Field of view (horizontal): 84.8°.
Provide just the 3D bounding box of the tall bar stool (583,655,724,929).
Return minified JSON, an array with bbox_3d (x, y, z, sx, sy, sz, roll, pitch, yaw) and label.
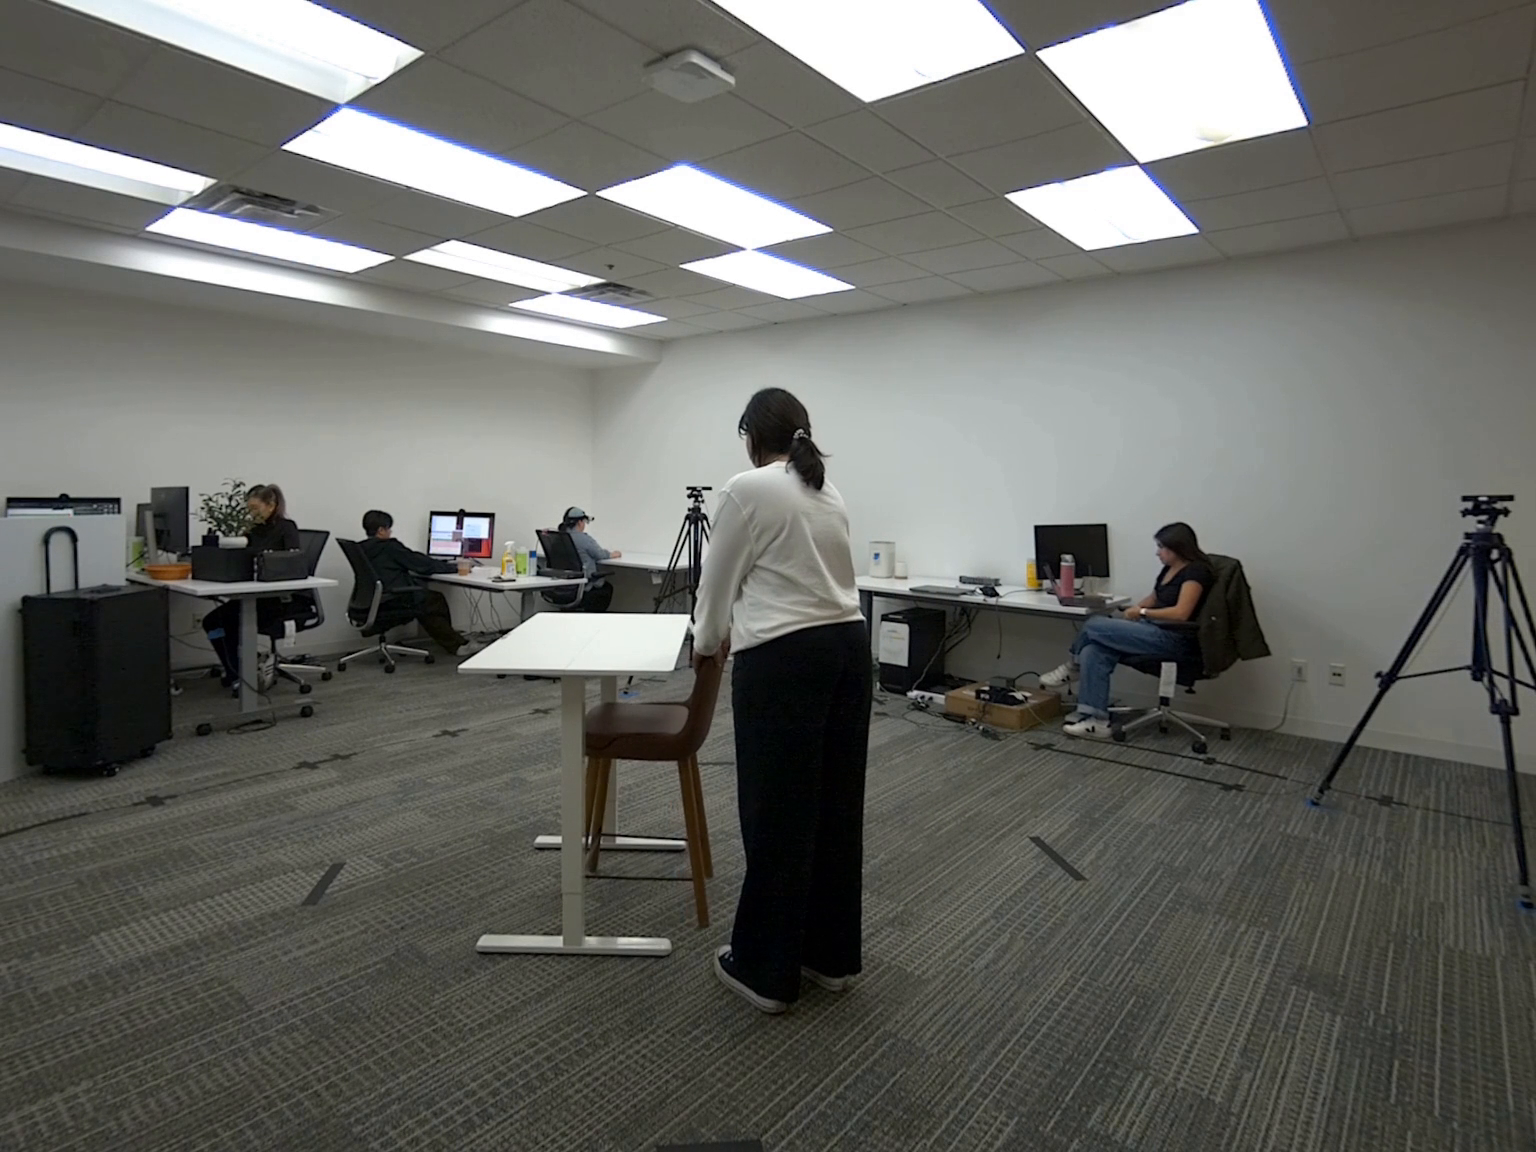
[{"bbox_3d":[-0.399,0.656,2.846,0.469,0.887,0.457,2,3,1],"label":"tall bar stool"}]
